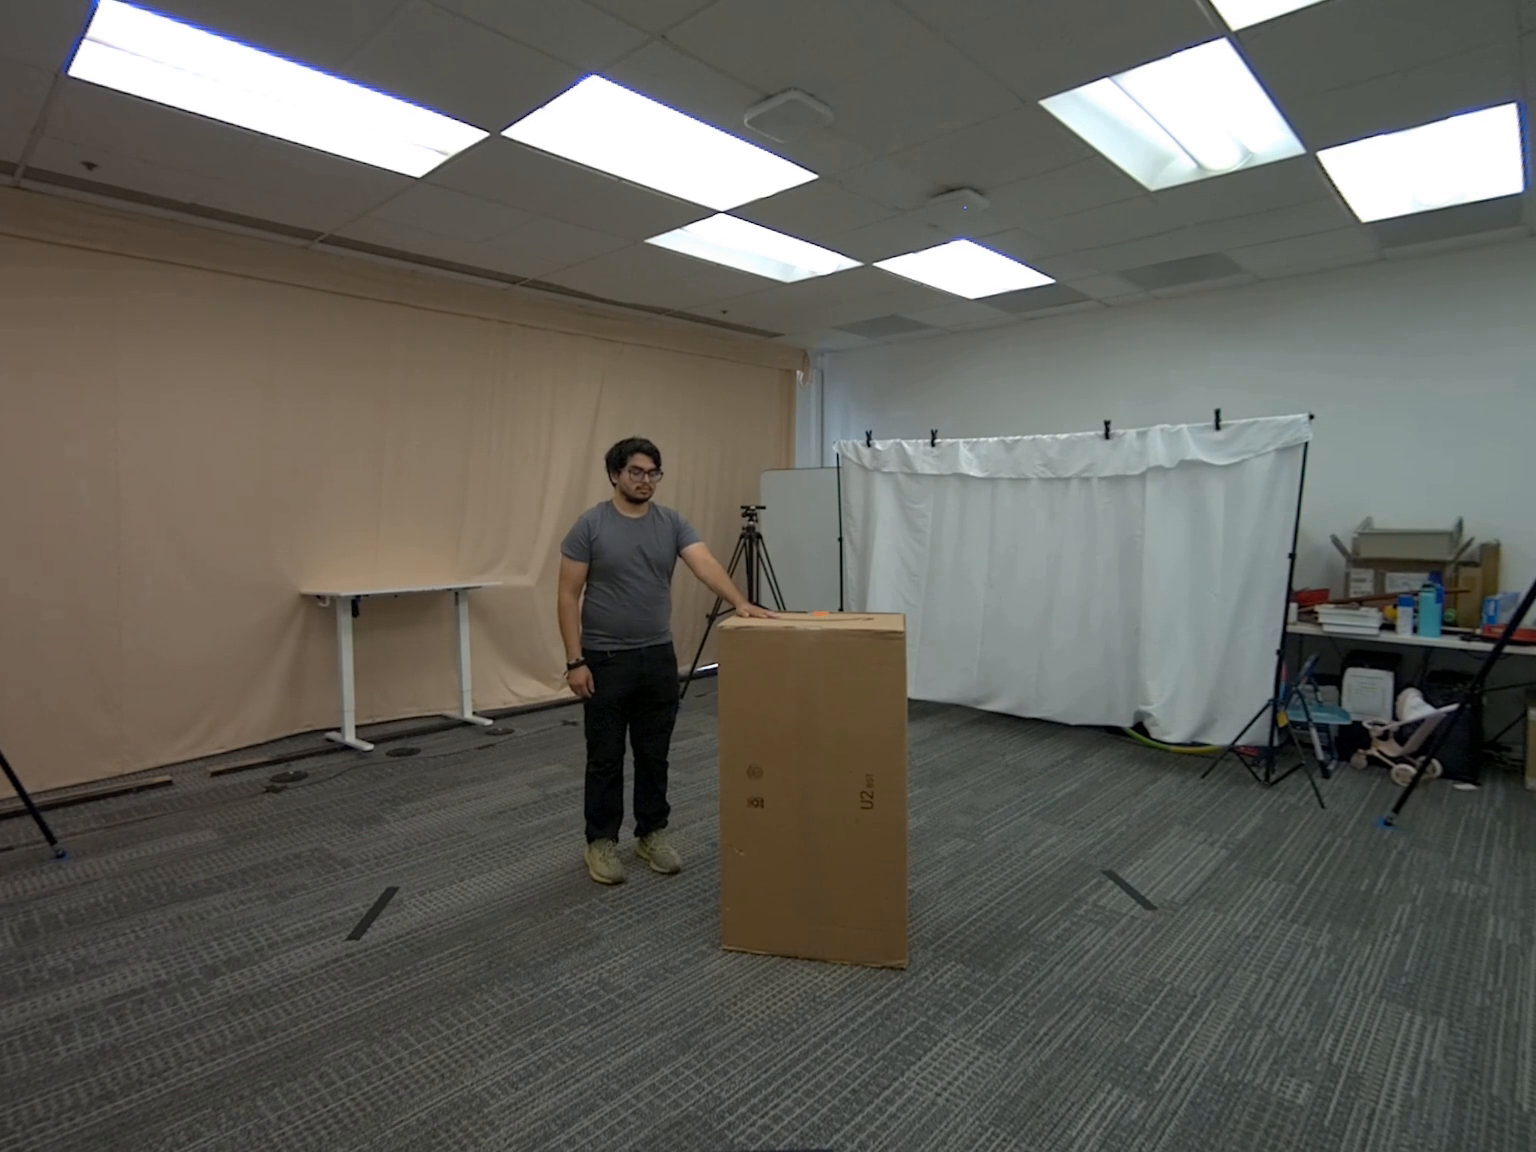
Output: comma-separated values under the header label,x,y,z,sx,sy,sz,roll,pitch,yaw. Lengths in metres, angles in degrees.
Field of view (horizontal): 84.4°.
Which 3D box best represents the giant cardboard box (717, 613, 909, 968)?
label,x,y,z,sx,sy,sz,roll,pitch,yaw
giant cardboard box,0.166,0.649,2.767,0.585,1.024,0.421,0,3,11
